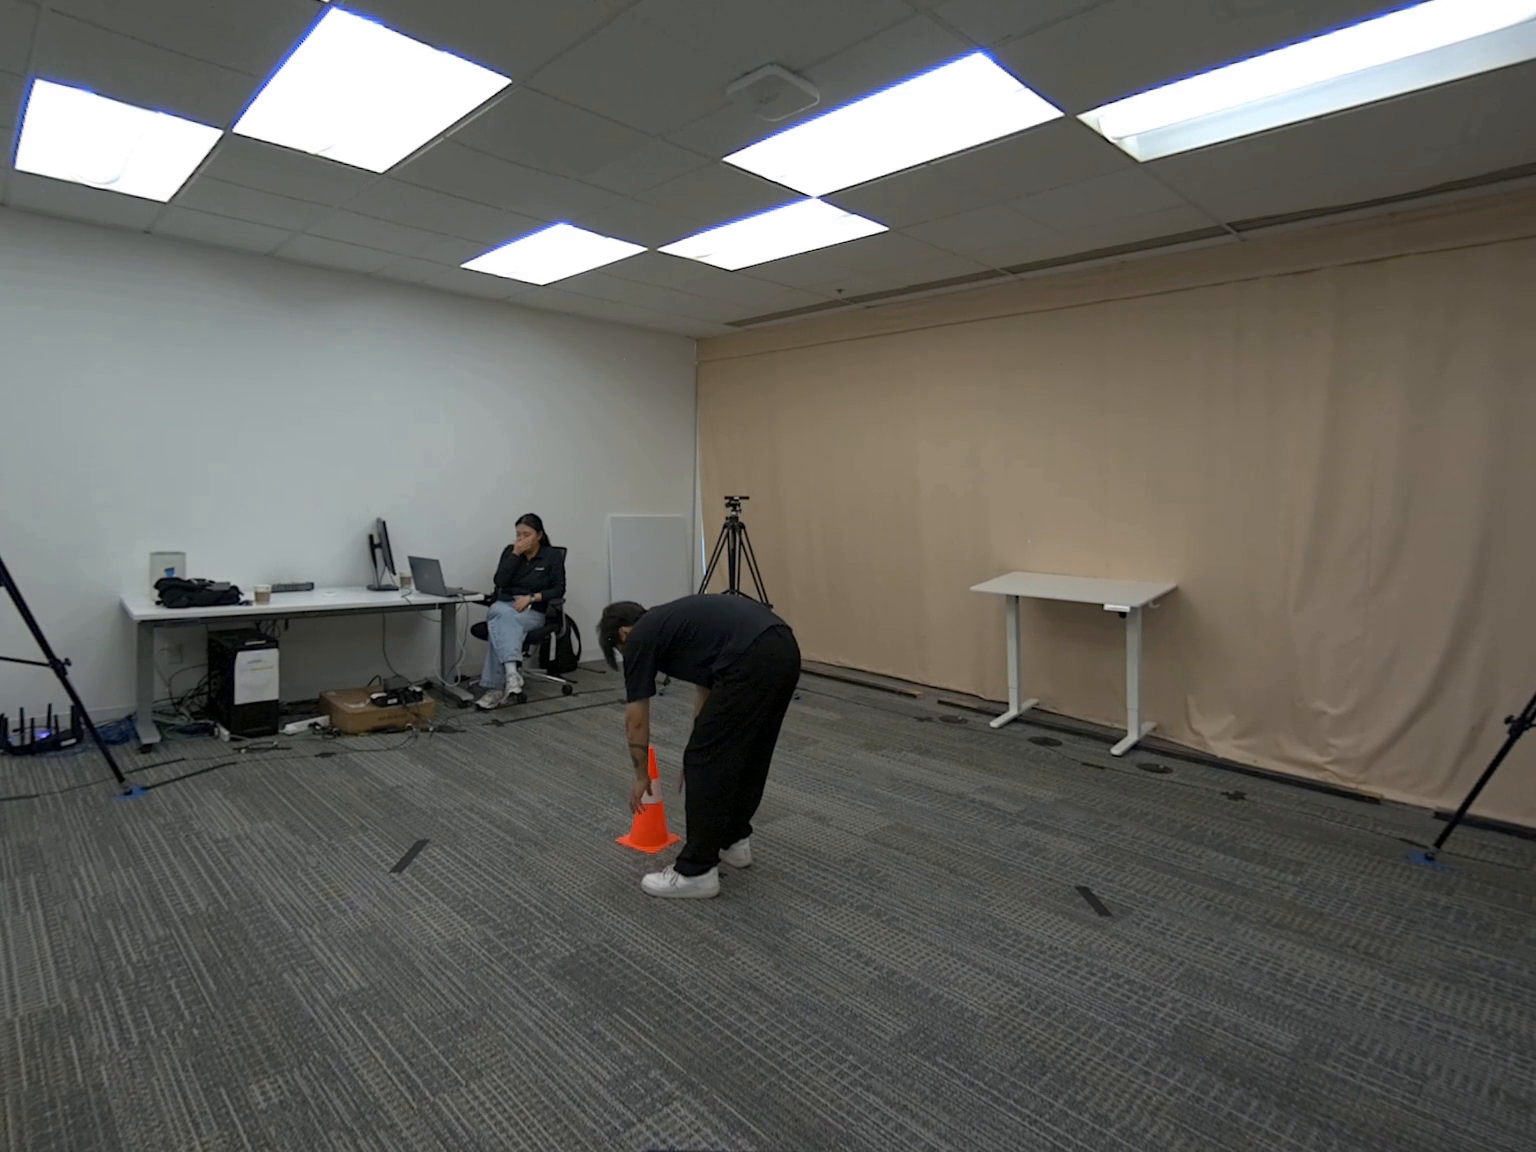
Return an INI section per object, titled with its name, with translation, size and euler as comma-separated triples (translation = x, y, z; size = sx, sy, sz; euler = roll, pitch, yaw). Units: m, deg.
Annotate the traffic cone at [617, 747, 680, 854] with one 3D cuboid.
[traffic cone]
translation = -0.476, 0.877, 3.400
size = 0.210, 0.383, 0.199
euler = 4, 3, 37
